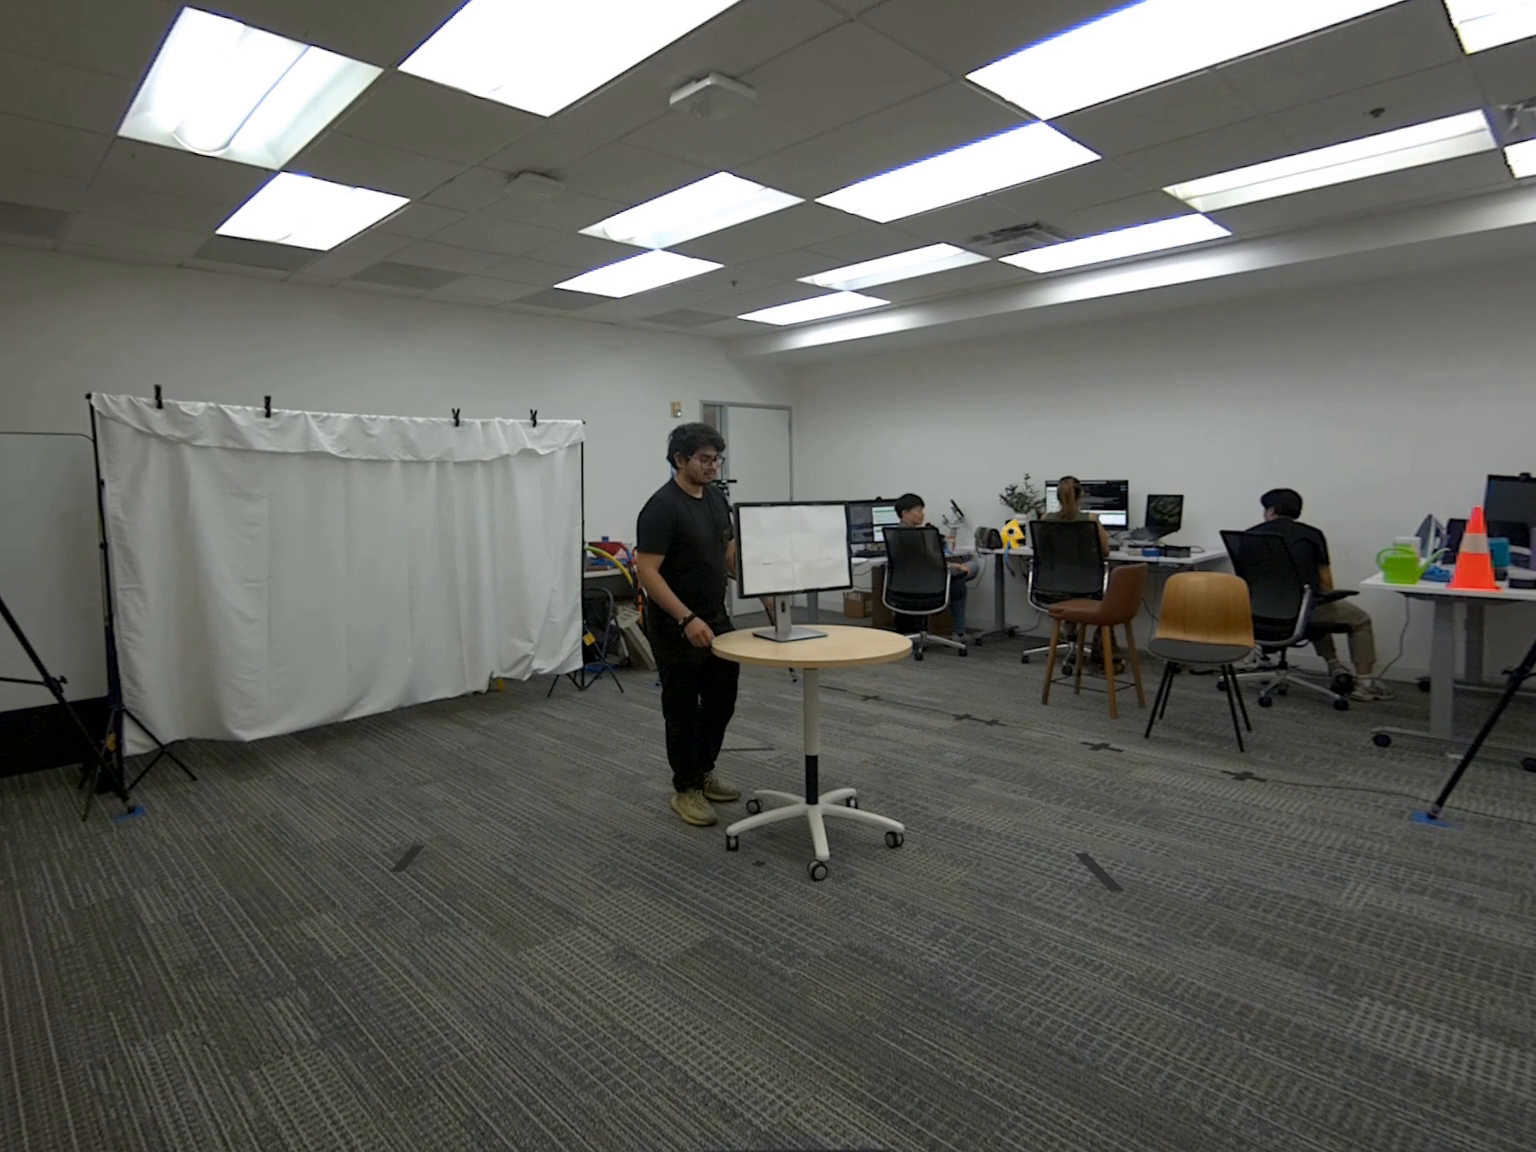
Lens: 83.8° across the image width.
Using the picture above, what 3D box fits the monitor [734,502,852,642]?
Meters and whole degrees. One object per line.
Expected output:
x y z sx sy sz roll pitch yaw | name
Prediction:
0.067 -0.024 3.412 0.551 0.553 0.216 -3 2 -34 | monitor
